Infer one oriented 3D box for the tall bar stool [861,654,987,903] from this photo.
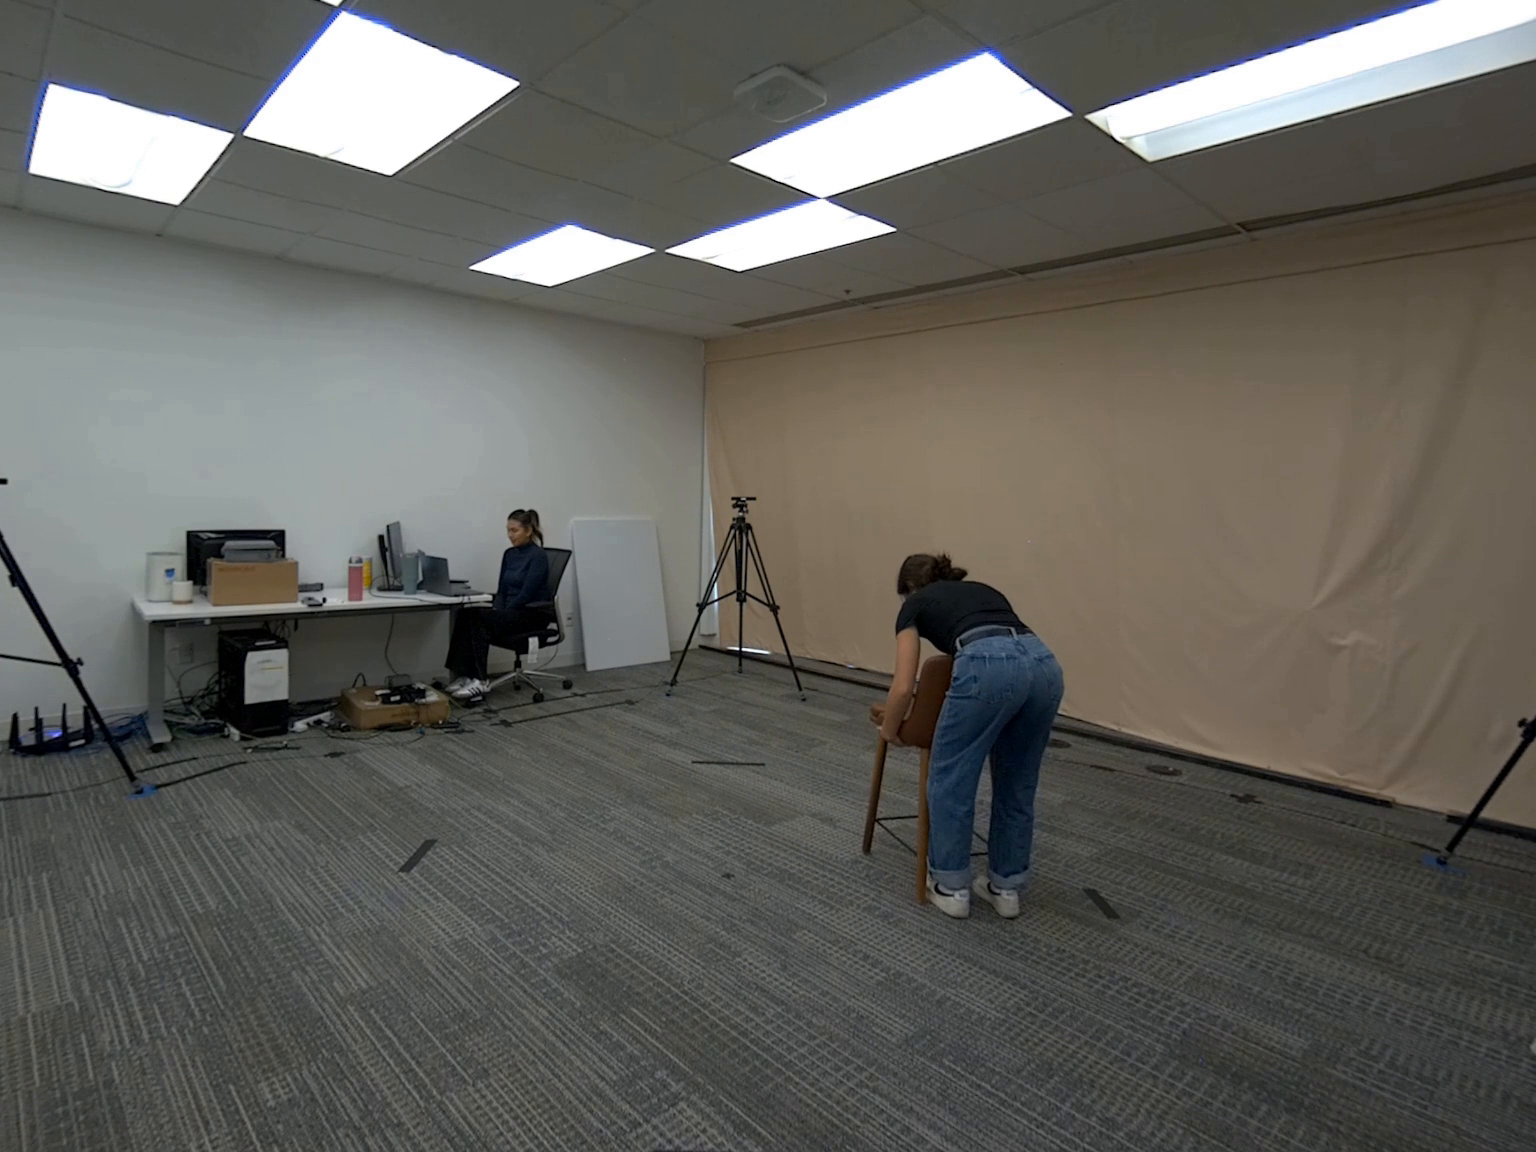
[{"bbox_3d":[0.647,0.685,3.158,0.451,0.886,0.475,0,6,-16],"label":"tall bar stool"}]
